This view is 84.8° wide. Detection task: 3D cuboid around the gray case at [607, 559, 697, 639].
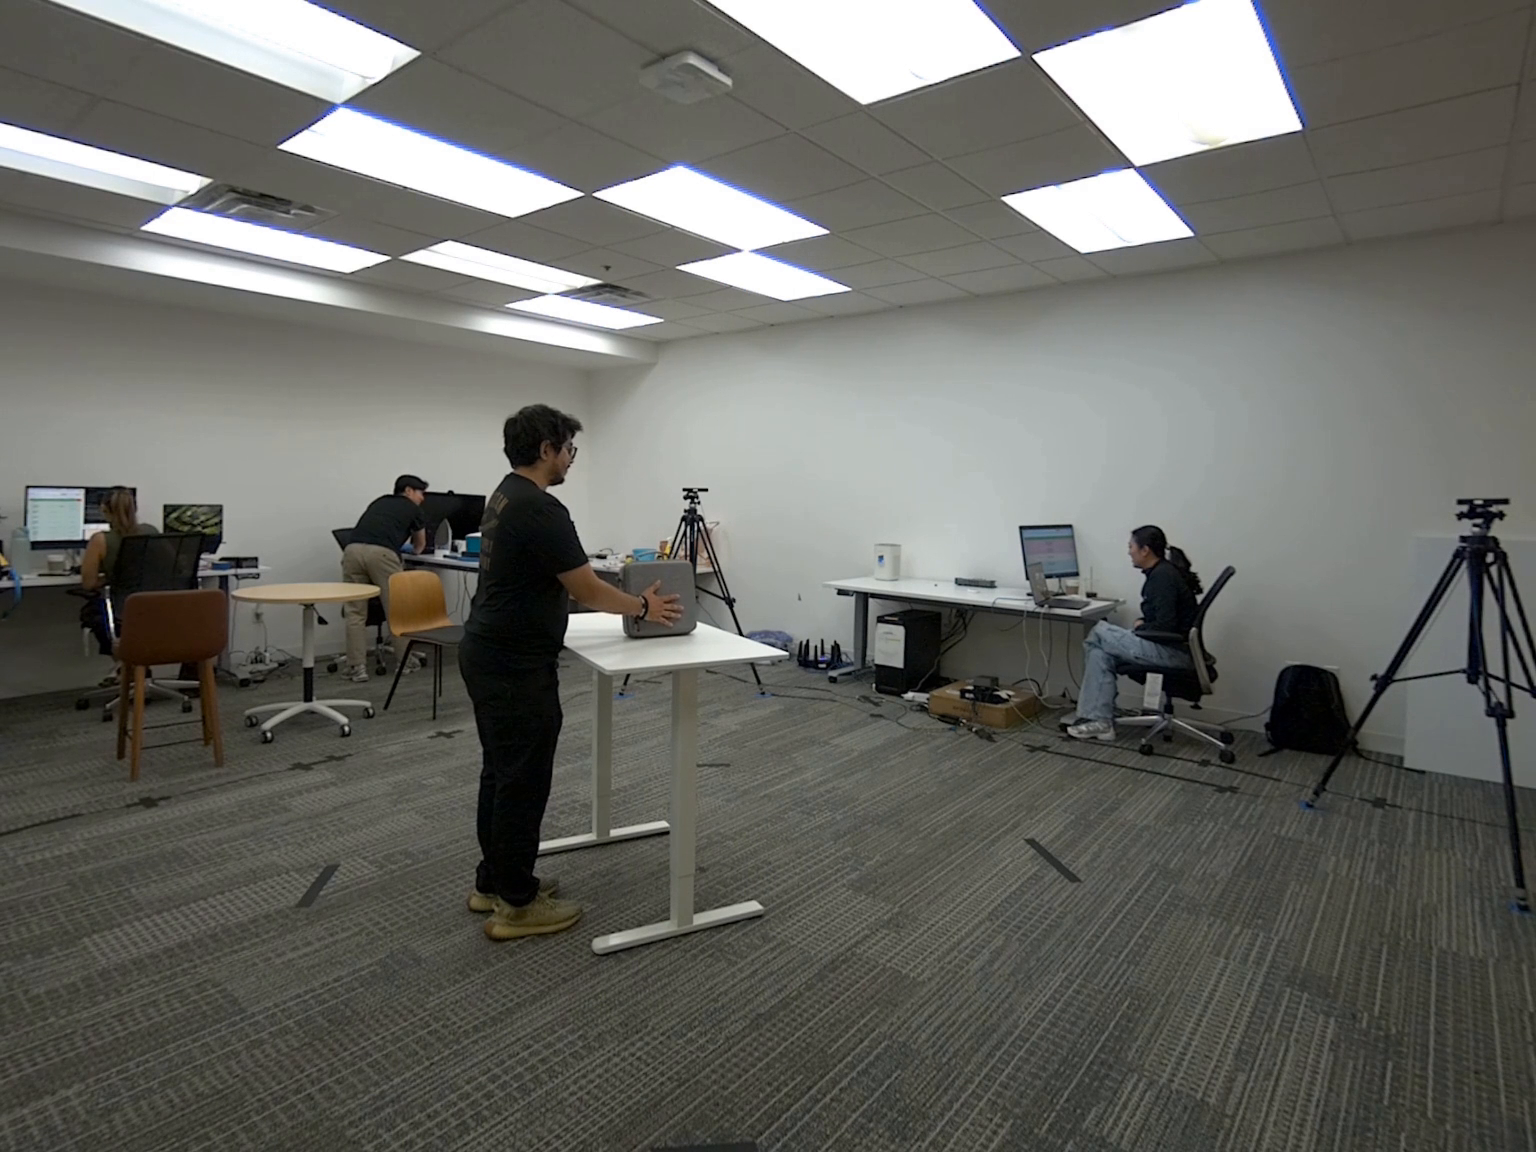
[{"bbox_3d":[-0.388,0.071,2.929,0.251,0.262,0.106,-2,-5,-23],"label":"gray case"}]
